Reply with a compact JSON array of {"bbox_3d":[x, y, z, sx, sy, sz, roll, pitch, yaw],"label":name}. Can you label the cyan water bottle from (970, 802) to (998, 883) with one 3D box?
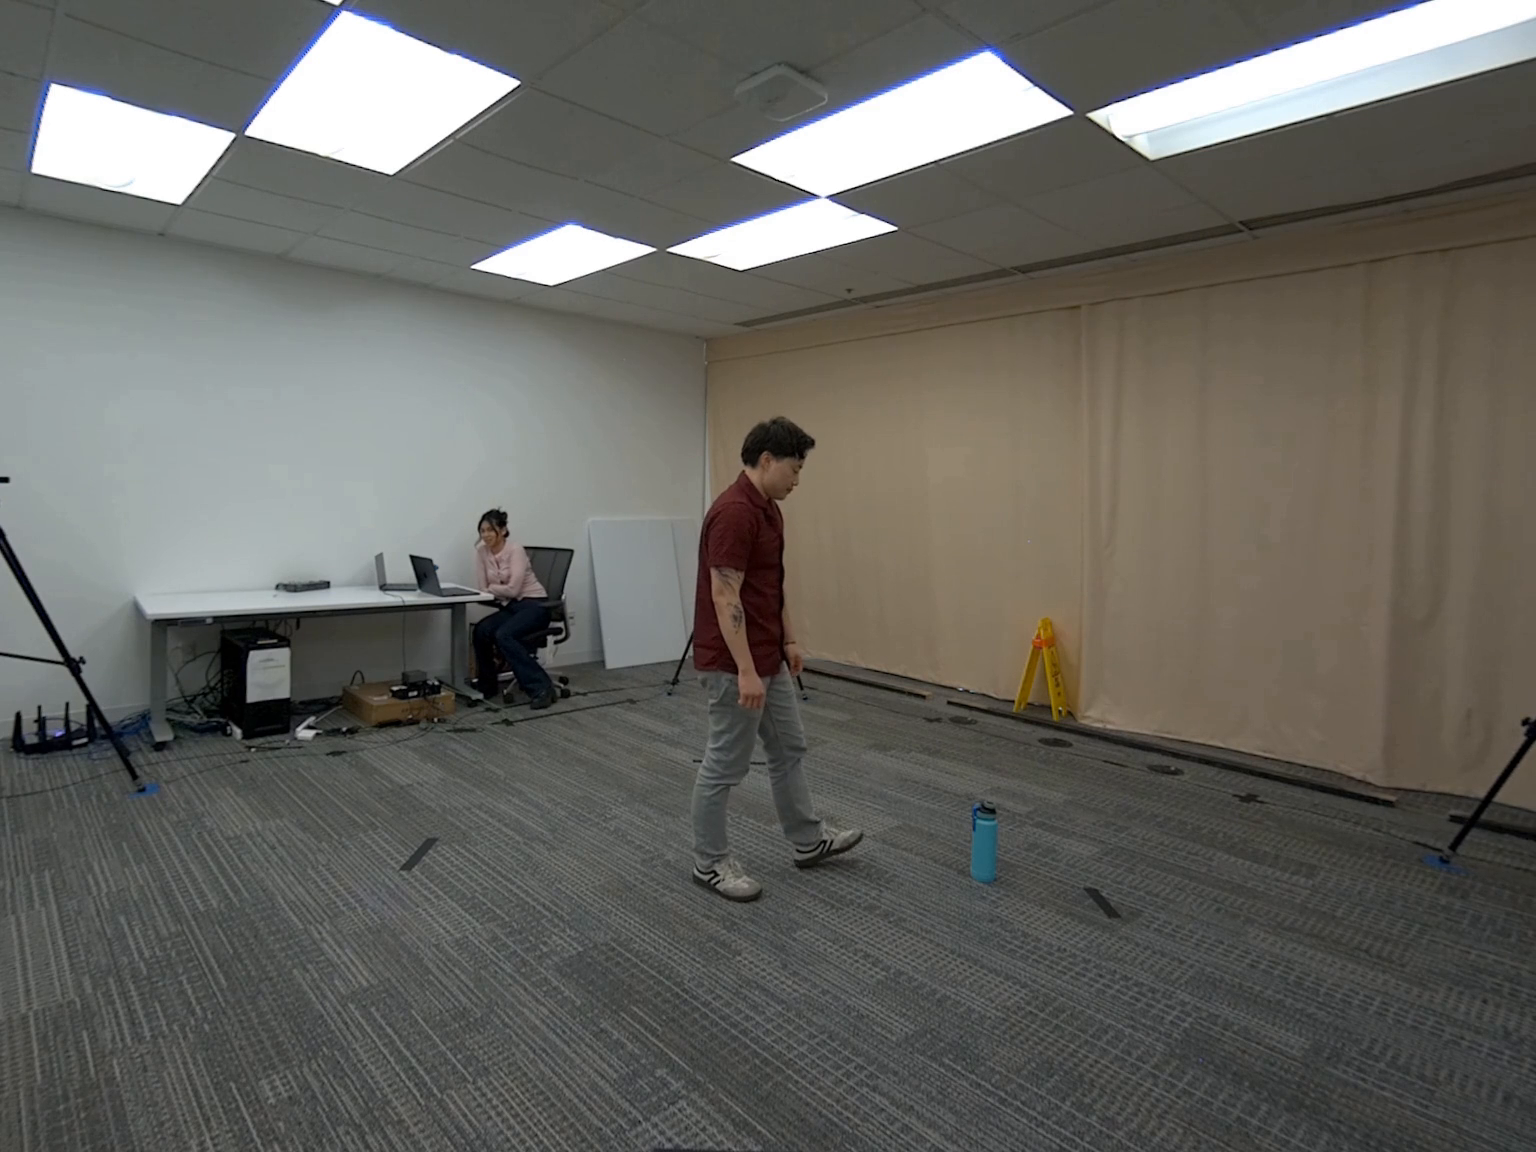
[{"bbox_3d":[0.796,0.983,3.138,0.092,0.283,0.092,1,3,-1],"label":"cyan water bottle"}]
